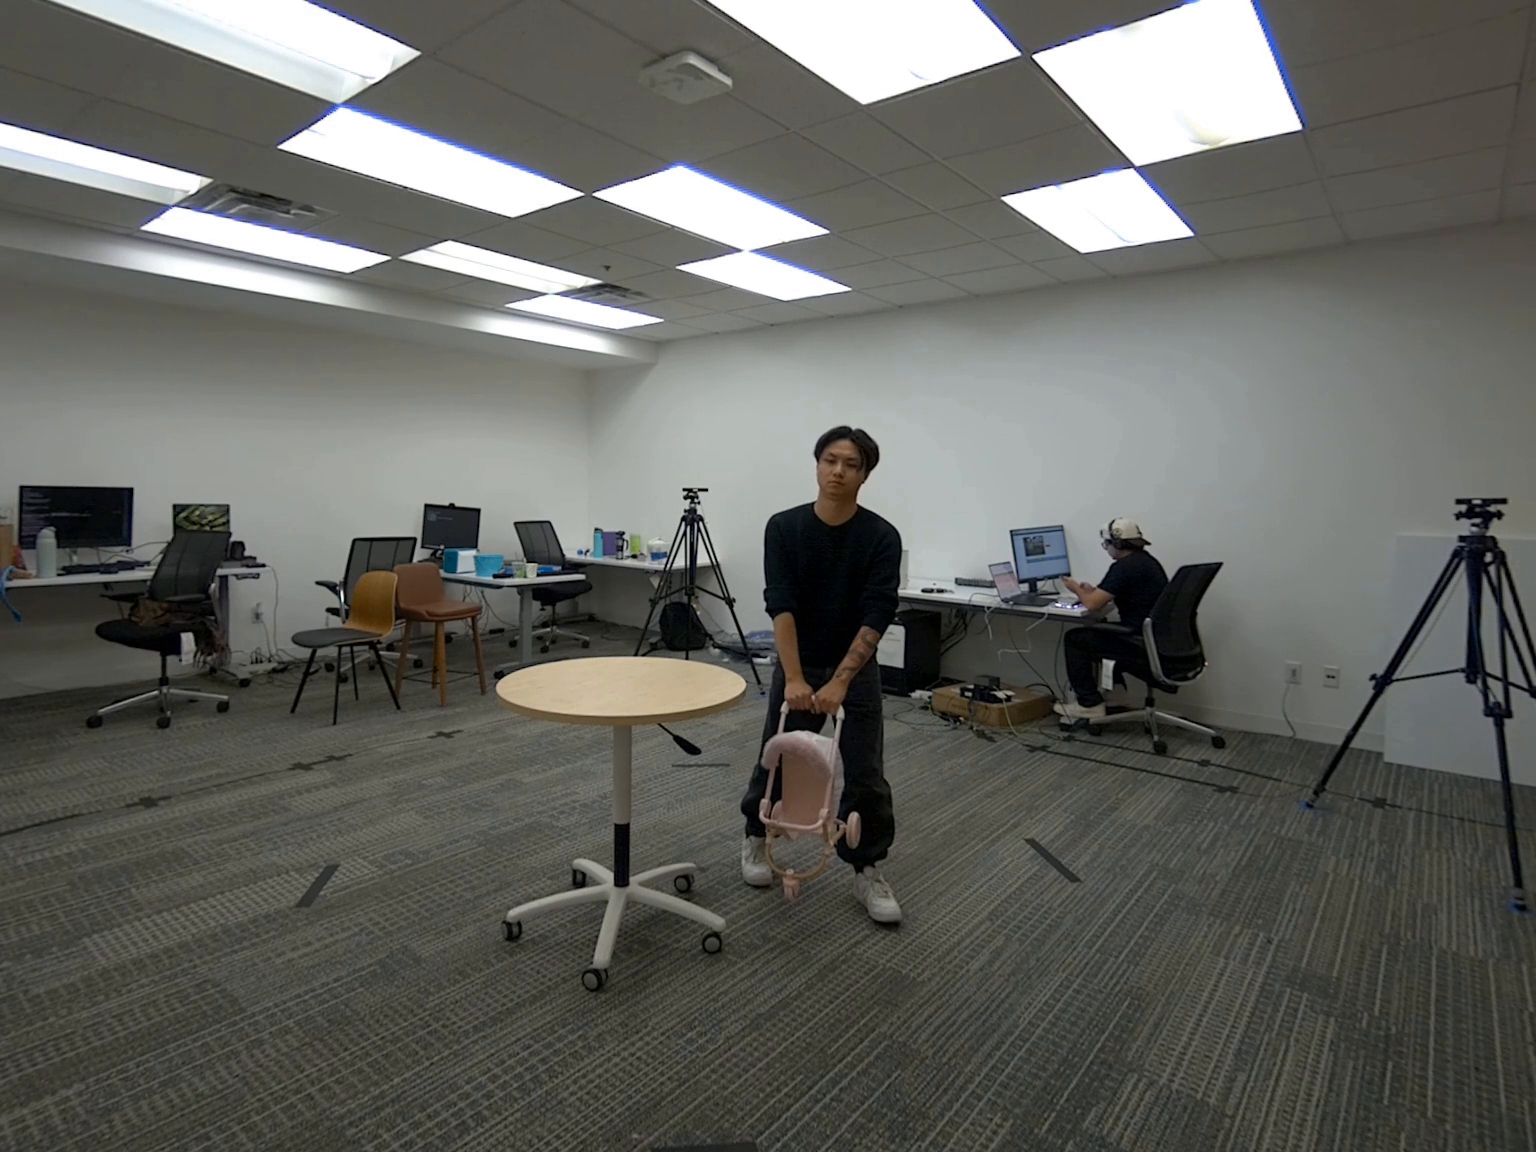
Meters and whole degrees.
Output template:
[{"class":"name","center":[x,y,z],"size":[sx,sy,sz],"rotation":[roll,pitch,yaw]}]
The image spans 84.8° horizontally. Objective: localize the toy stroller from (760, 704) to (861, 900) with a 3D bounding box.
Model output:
[{"class":"toy stroller","center":[0.098,0.680,2.628],"size":[0.289,0.528,0.336],"rotation":[4,16,27]}]
